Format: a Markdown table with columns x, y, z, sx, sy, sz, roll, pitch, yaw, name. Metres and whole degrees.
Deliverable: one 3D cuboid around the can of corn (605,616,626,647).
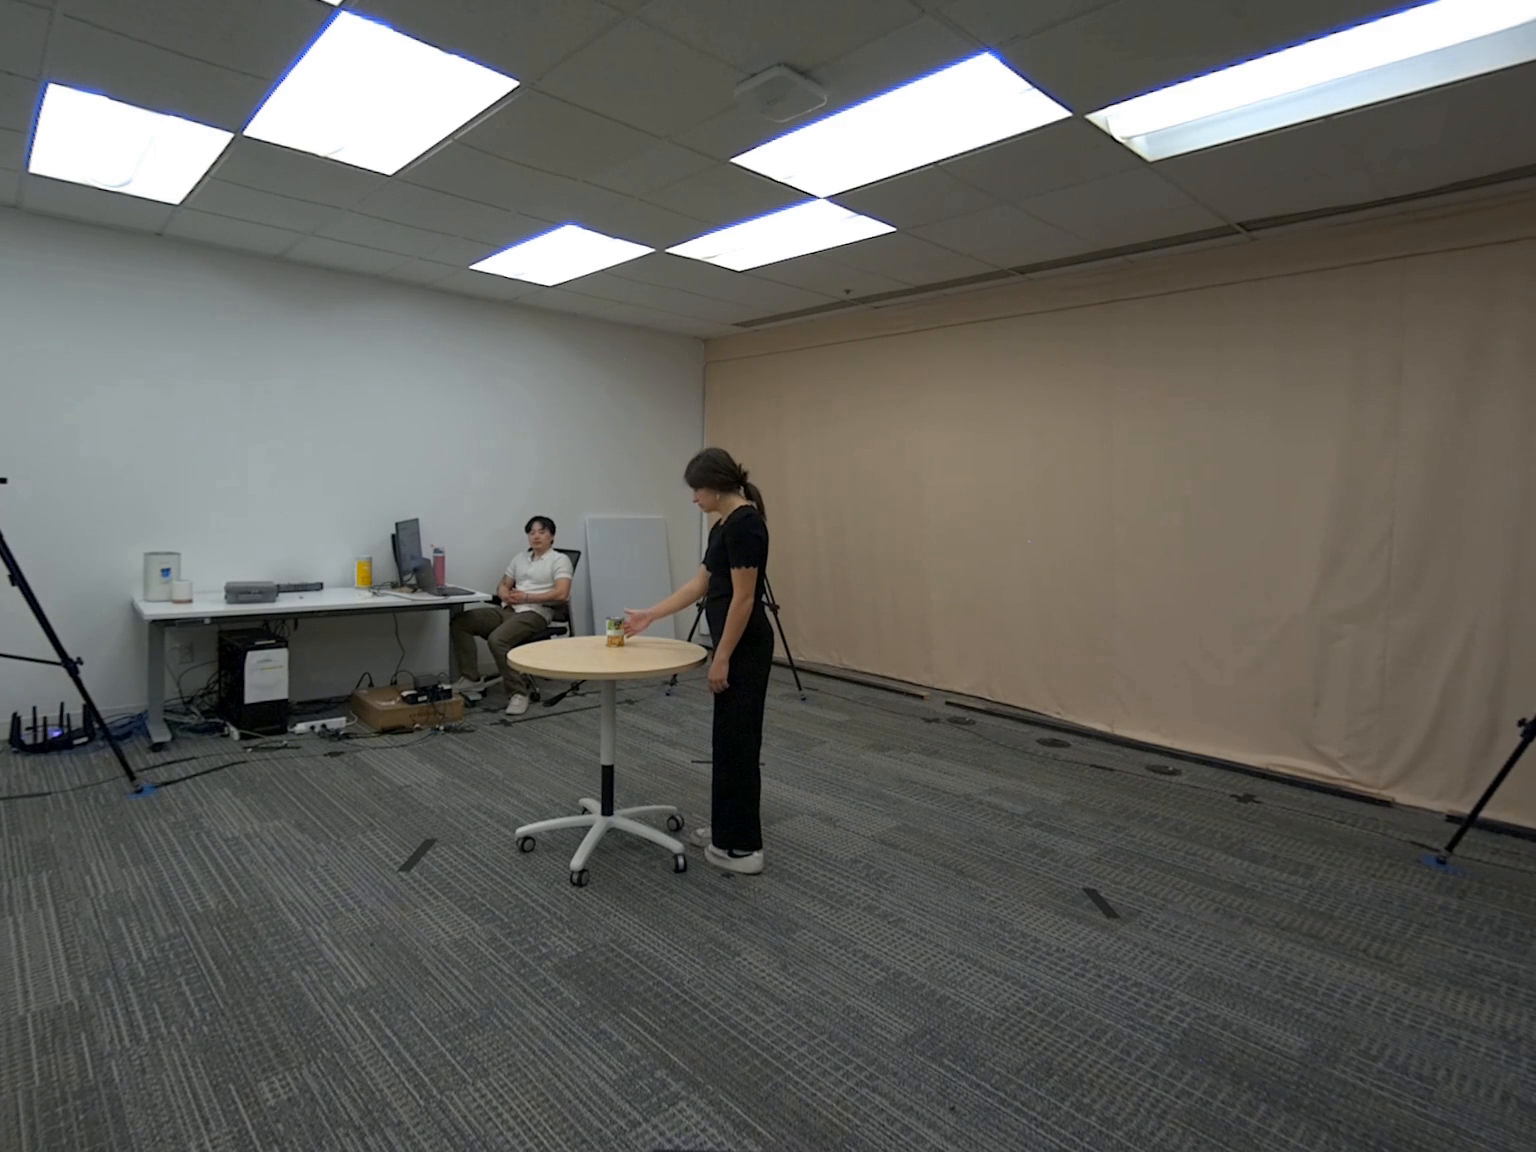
| x | y | z | sx | sy | sz | roll | pitch | yaw | name |
| --- | --- | --- | --- | --- | --- | --- | --- | --- | --- |
| -0.625 | 0.228 | 3.412 | 0.074 | 0.111 | 0.074 | 1 | 1 | -1 | can of corn |
